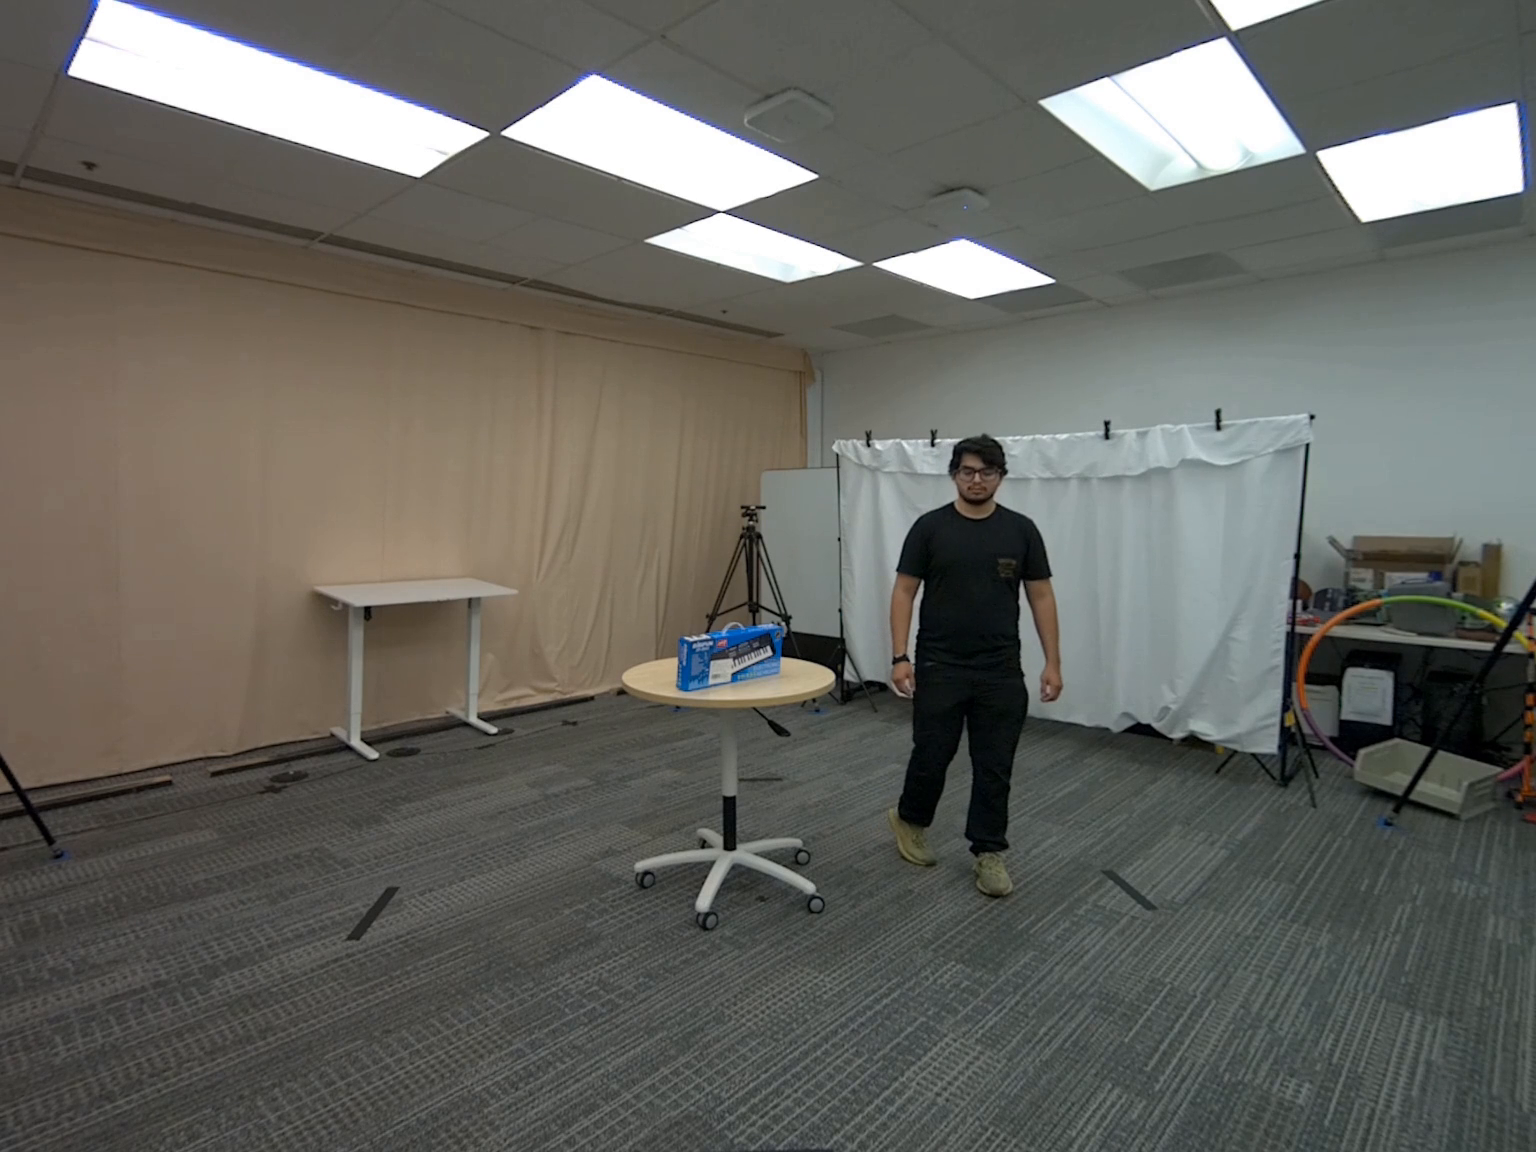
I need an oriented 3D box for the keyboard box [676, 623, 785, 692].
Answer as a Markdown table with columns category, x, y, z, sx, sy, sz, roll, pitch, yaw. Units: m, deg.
| category | x | y | z | sx | sy | sz | roll | pitch | yaw |
| --- | --- | --- | --- | --- | --- | --- | --- | --- | --- |
| keyboard box | -0.129 | 0.282 | 2.921 | 0.423 | 0.175 | 0.061 | -5 | 12 | -43 |
